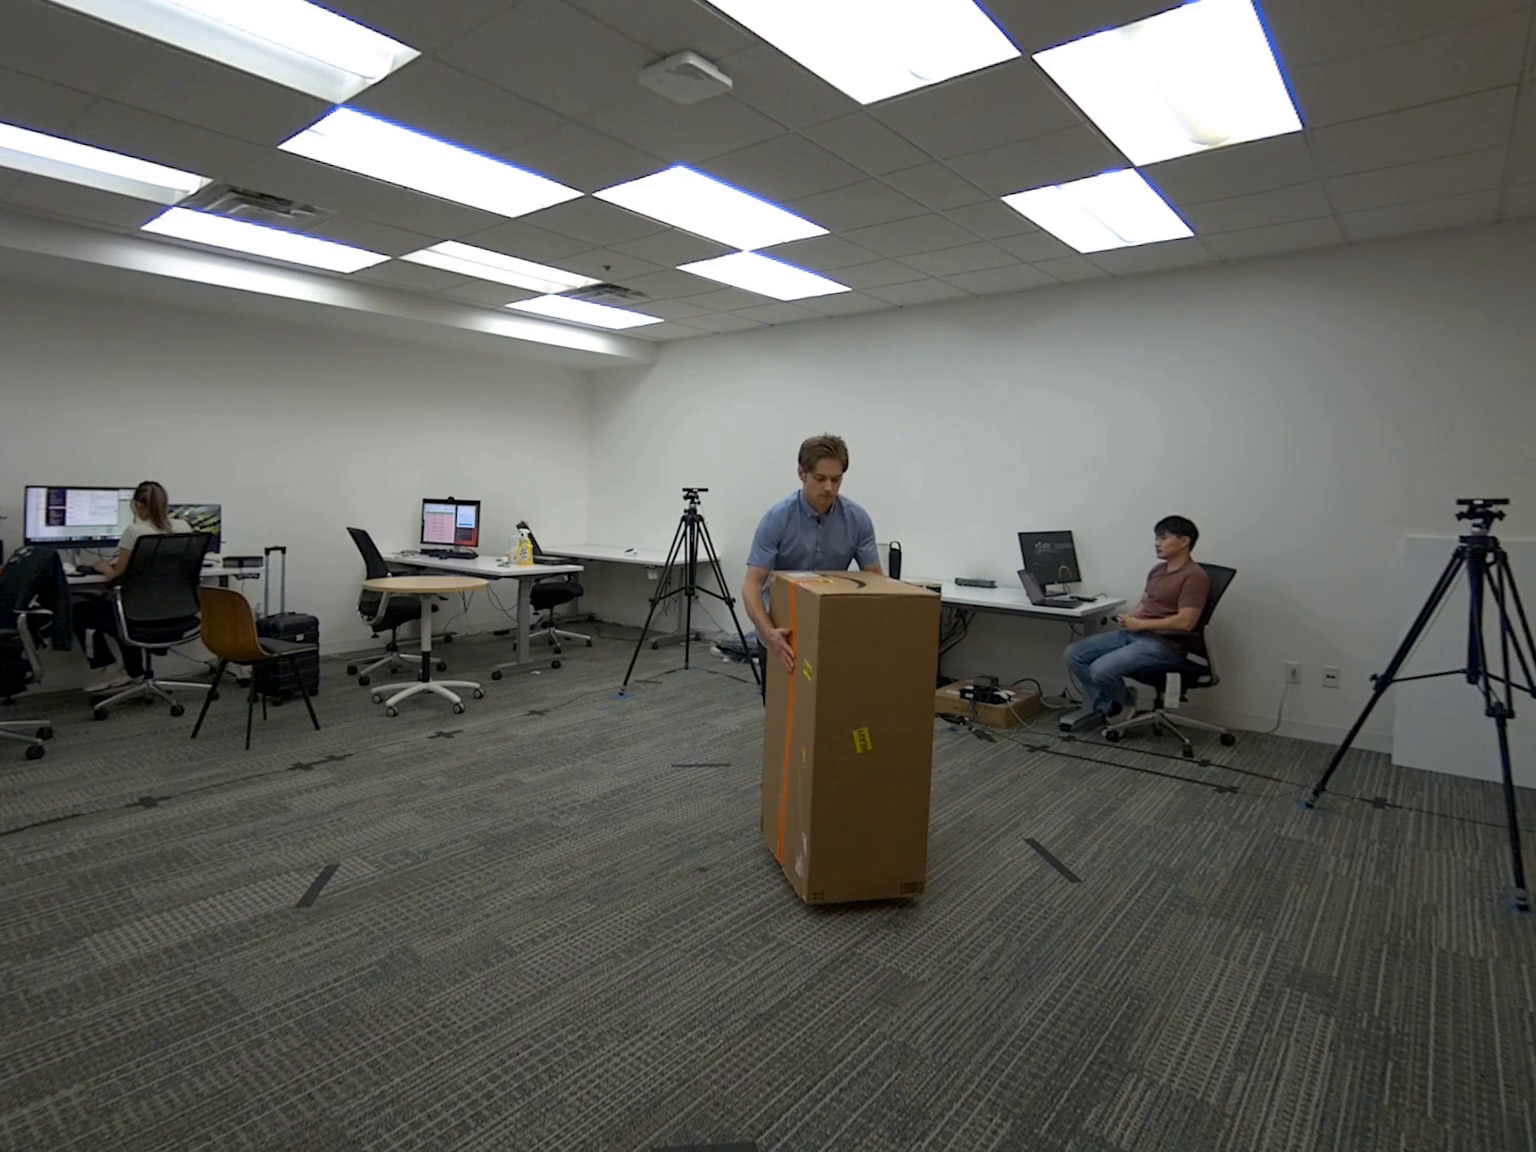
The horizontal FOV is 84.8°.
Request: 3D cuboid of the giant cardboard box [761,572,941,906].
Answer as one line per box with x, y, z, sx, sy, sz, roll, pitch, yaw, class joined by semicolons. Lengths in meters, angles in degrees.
0.254;0.527;3.039;0.441;1.023;0.594;1;4;-13;giant cardboard box
